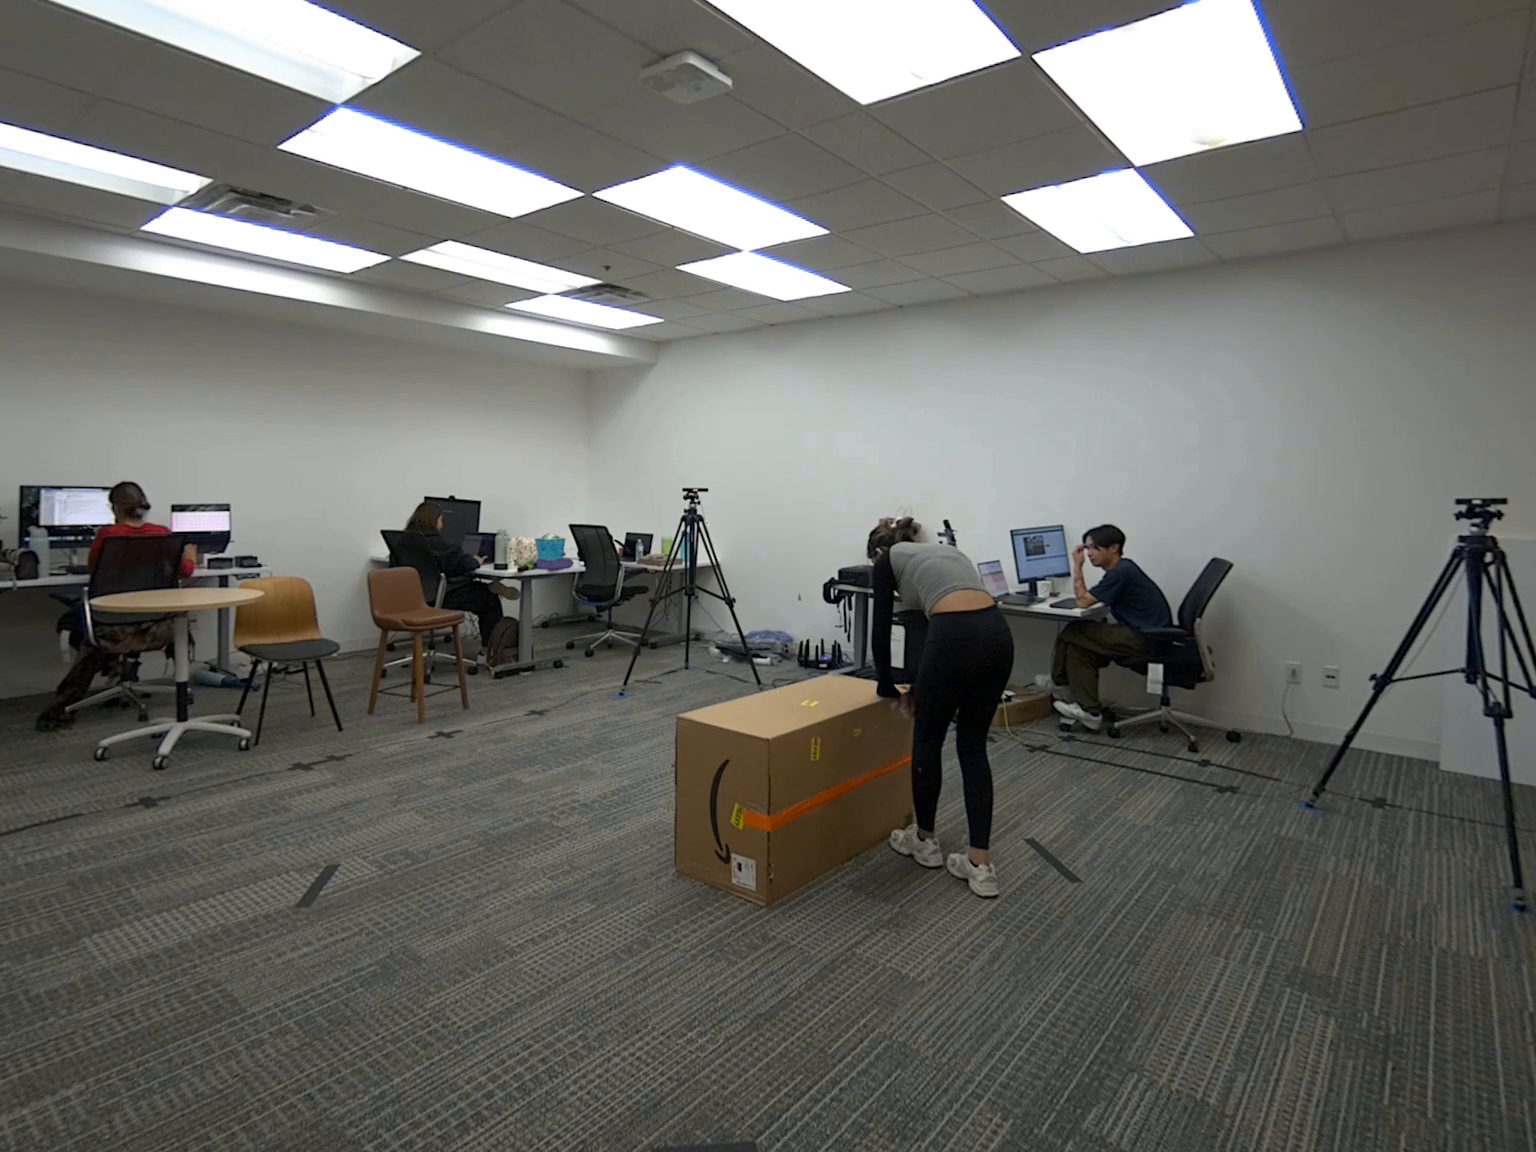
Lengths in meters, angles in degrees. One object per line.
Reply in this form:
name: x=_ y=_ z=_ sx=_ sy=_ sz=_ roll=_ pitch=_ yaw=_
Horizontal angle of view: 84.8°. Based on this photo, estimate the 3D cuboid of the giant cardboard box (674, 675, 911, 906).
giant cardboard box: x=0.129 y=0.768 z=3.326 sx=0.462 sy=0.581 sz=0.997 roll=5 pitch=7 yaw=38
